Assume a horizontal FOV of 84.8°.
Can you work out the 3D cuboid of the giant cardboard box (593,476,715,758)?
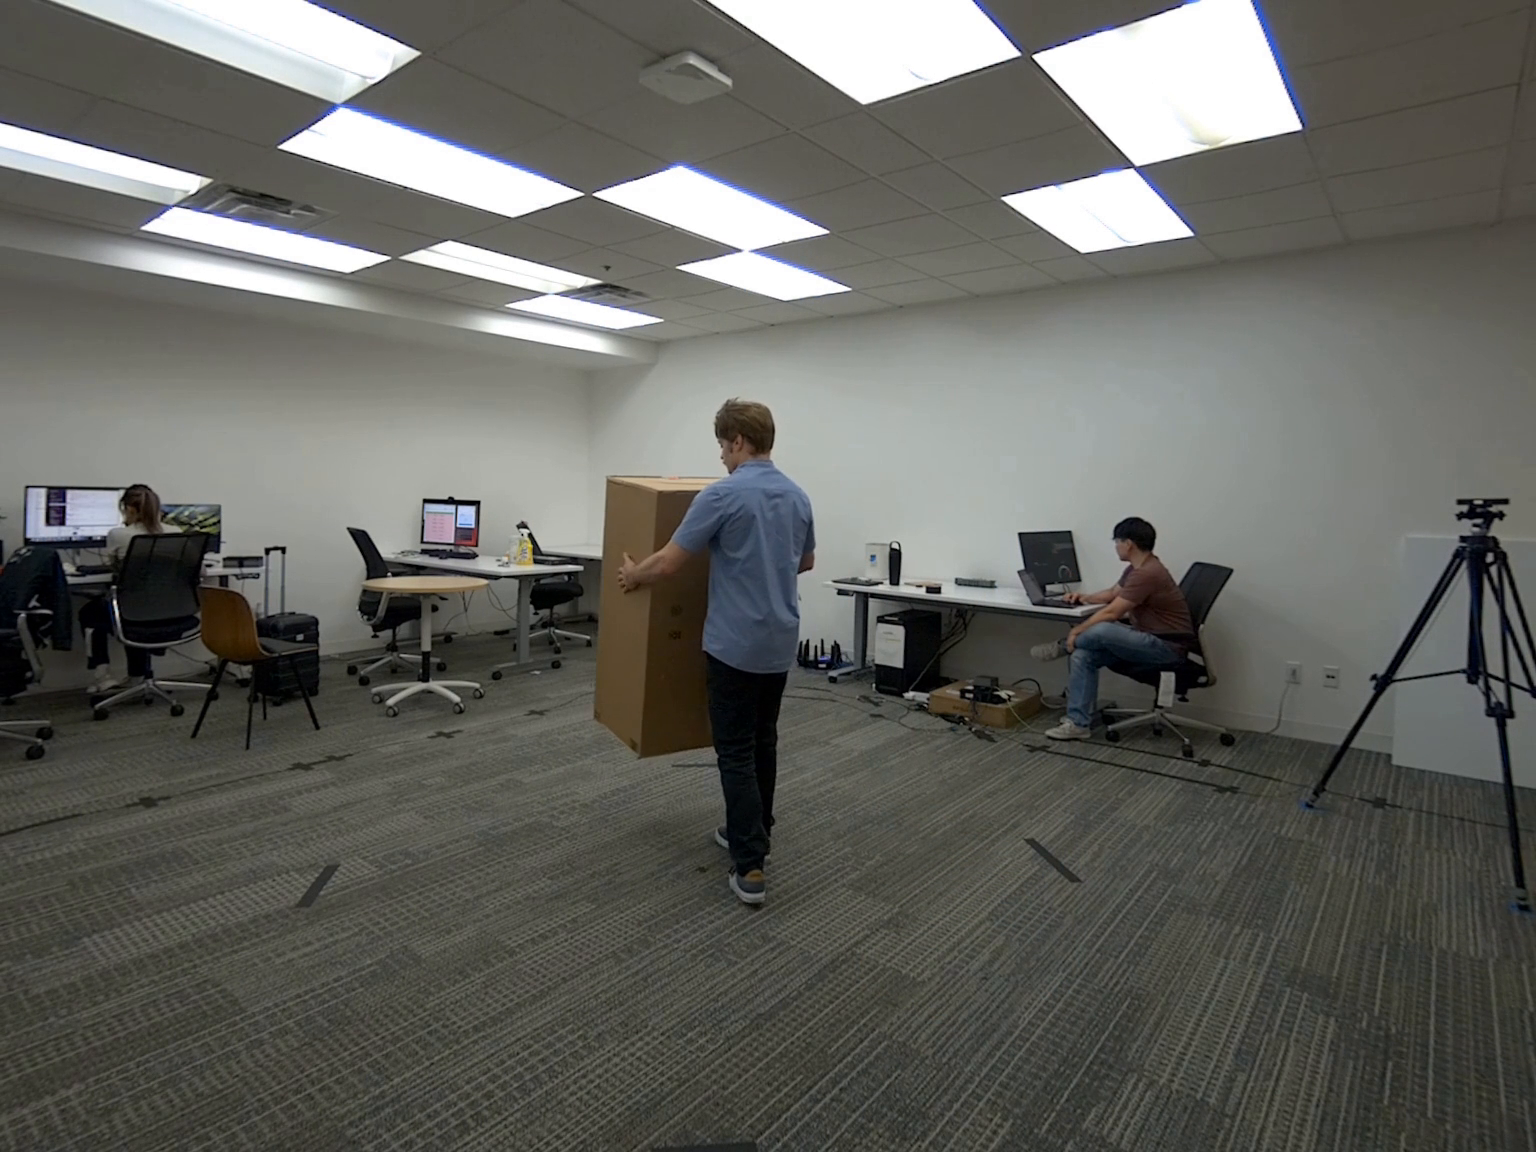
[{"bbox_3d":[-0.348,0.132,3.435,0.561,1.017,0.442,-2,12,-34],"label":"giant cardboard box"}]
